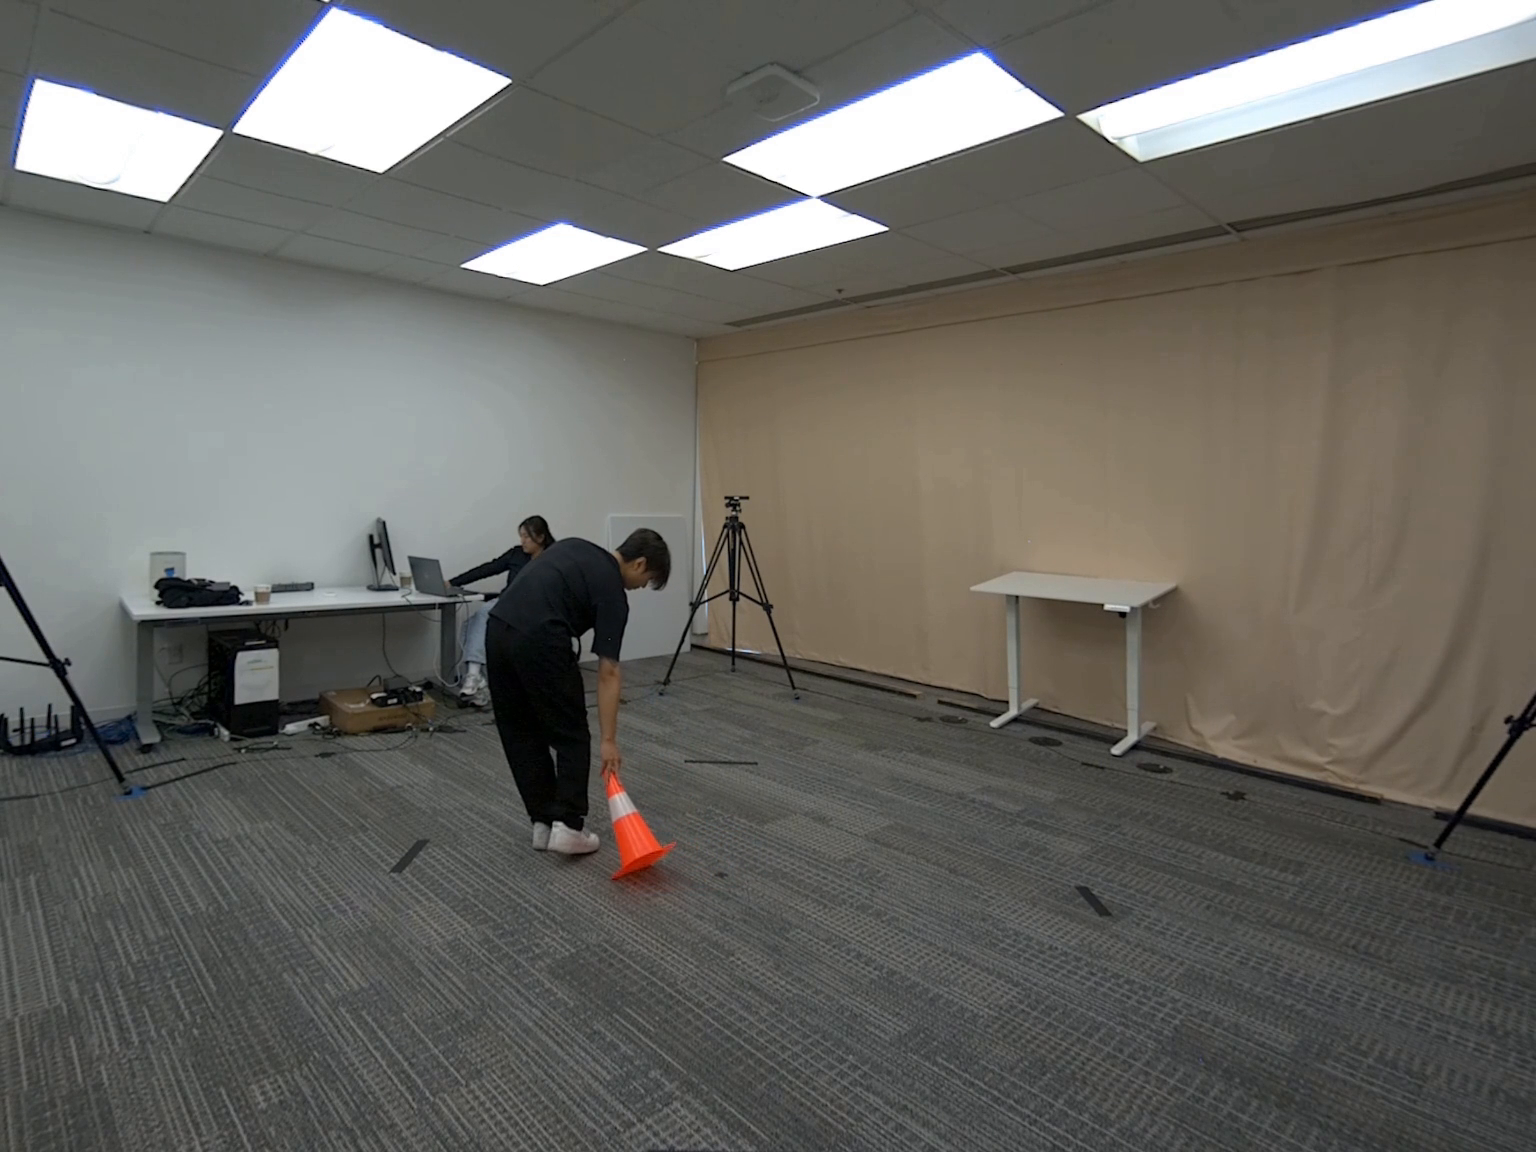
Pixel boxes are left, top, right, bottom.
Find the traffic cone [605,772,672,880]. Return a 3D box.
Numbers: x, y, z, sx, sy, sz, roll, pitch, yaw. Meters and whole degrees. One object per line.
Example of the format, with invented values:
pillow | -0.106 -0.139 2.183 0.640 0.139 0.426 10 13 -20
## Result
traffic cone | -0.546 0.887 3.133 0.199 0.392 0.205 -4 -32 -44
